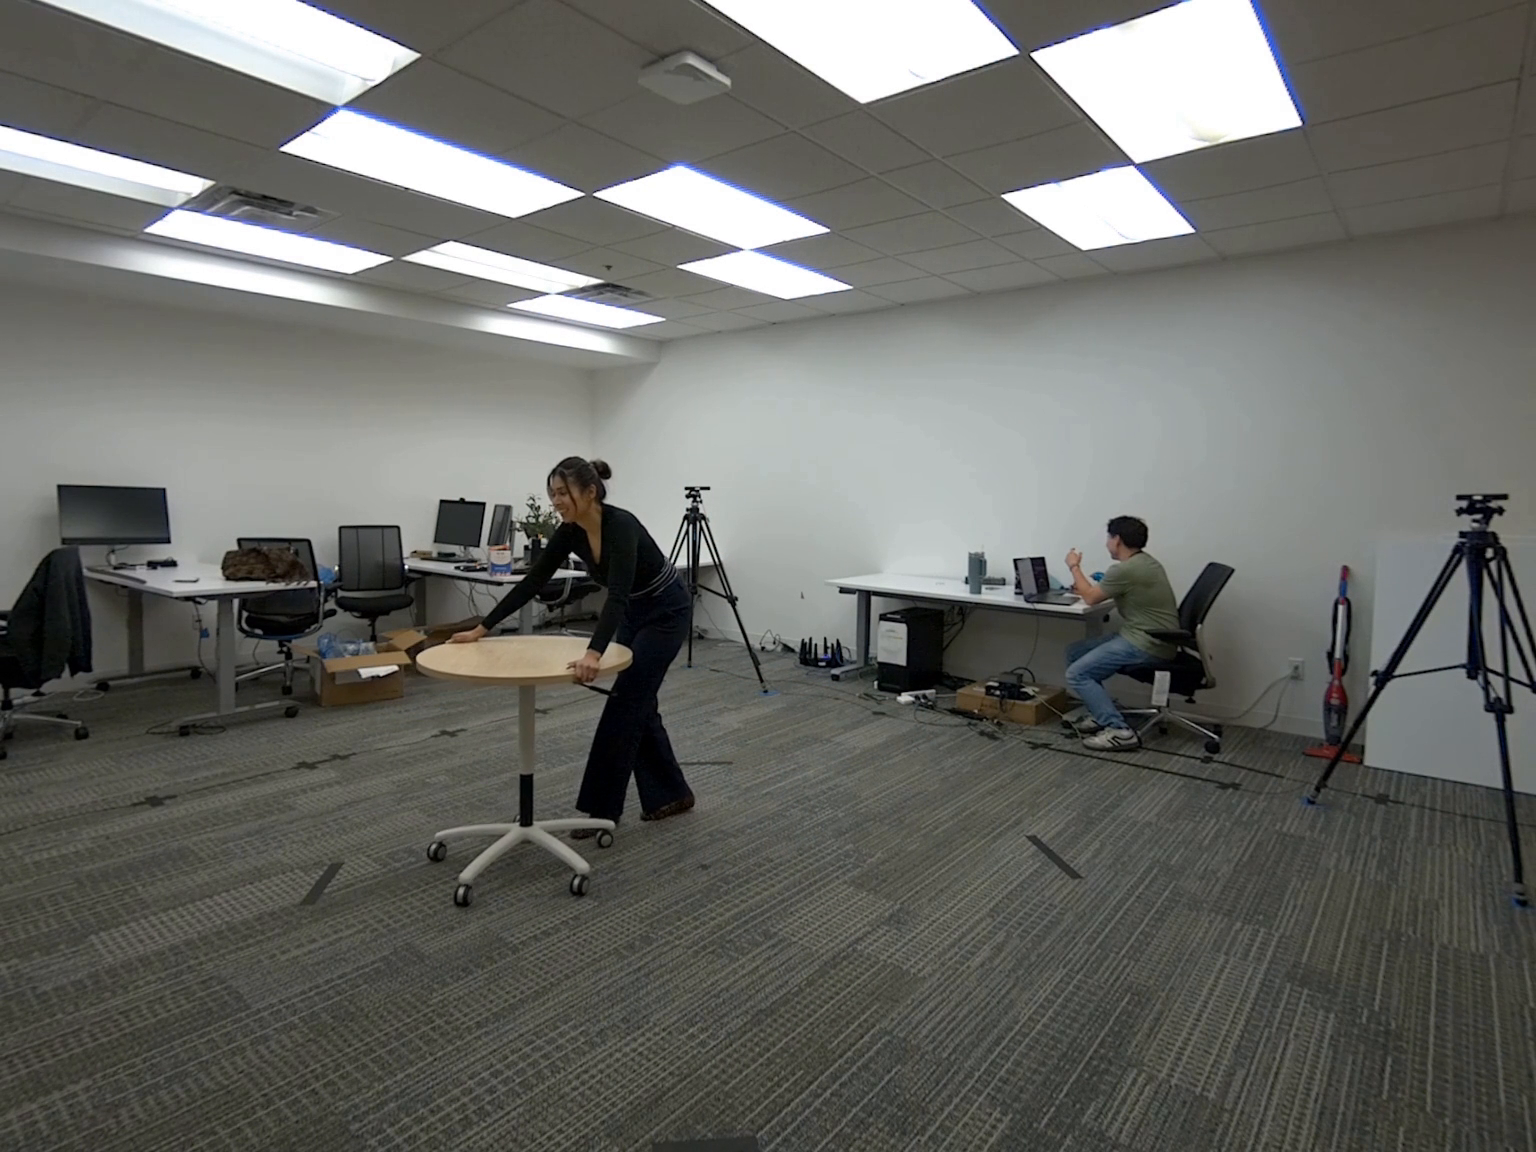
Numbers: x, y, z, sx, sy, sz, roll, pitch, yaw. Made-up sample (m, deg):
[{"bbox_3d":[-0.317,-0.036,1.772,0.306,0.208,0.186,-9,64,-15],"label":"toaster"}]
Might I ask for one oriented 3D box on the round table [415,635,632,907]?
[{"bbox_3d":[-0.898,0.673,3.105,0.763,0.791,0.768,1,4,-2],"label":"round table"}]
